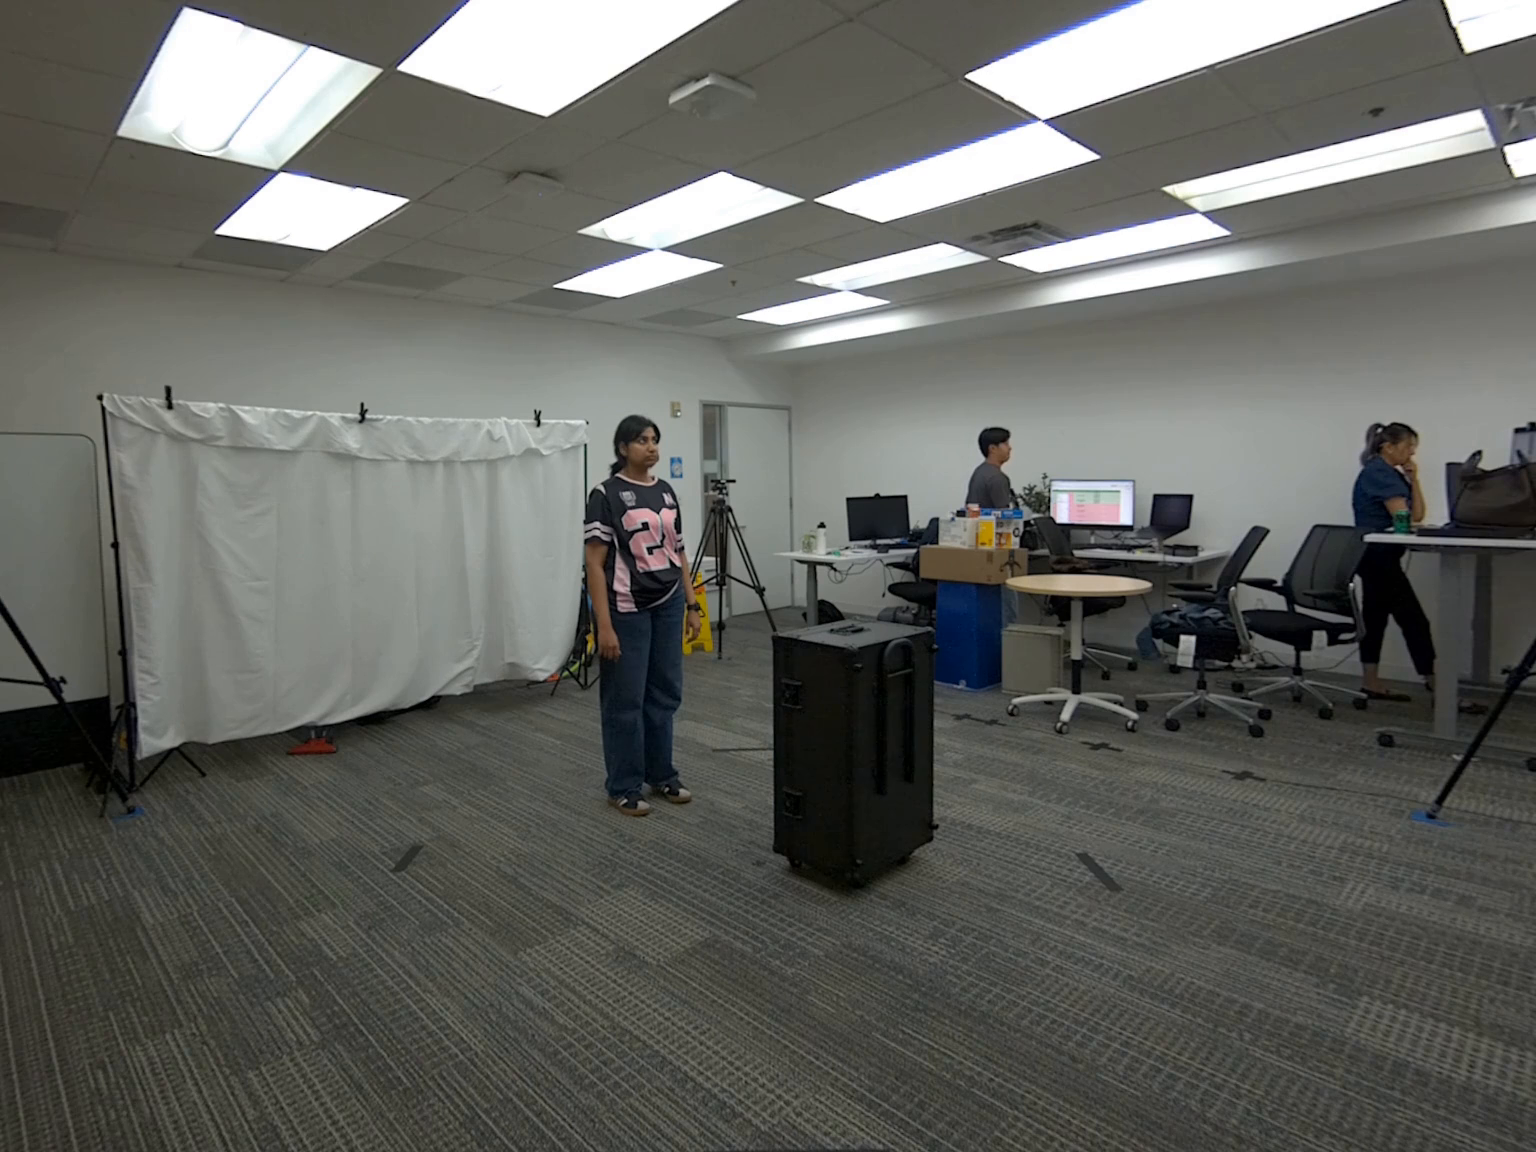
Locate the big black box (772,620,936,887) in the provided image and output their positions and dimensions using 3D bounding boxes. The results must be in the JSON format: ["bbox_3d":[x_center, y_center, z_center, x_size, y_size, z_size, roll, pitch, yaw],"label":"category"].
[{"bbox_3d":[0.322,0.625,3.062,0.397,0.865,0.509,4,6,45],"label":"big black box"}]
